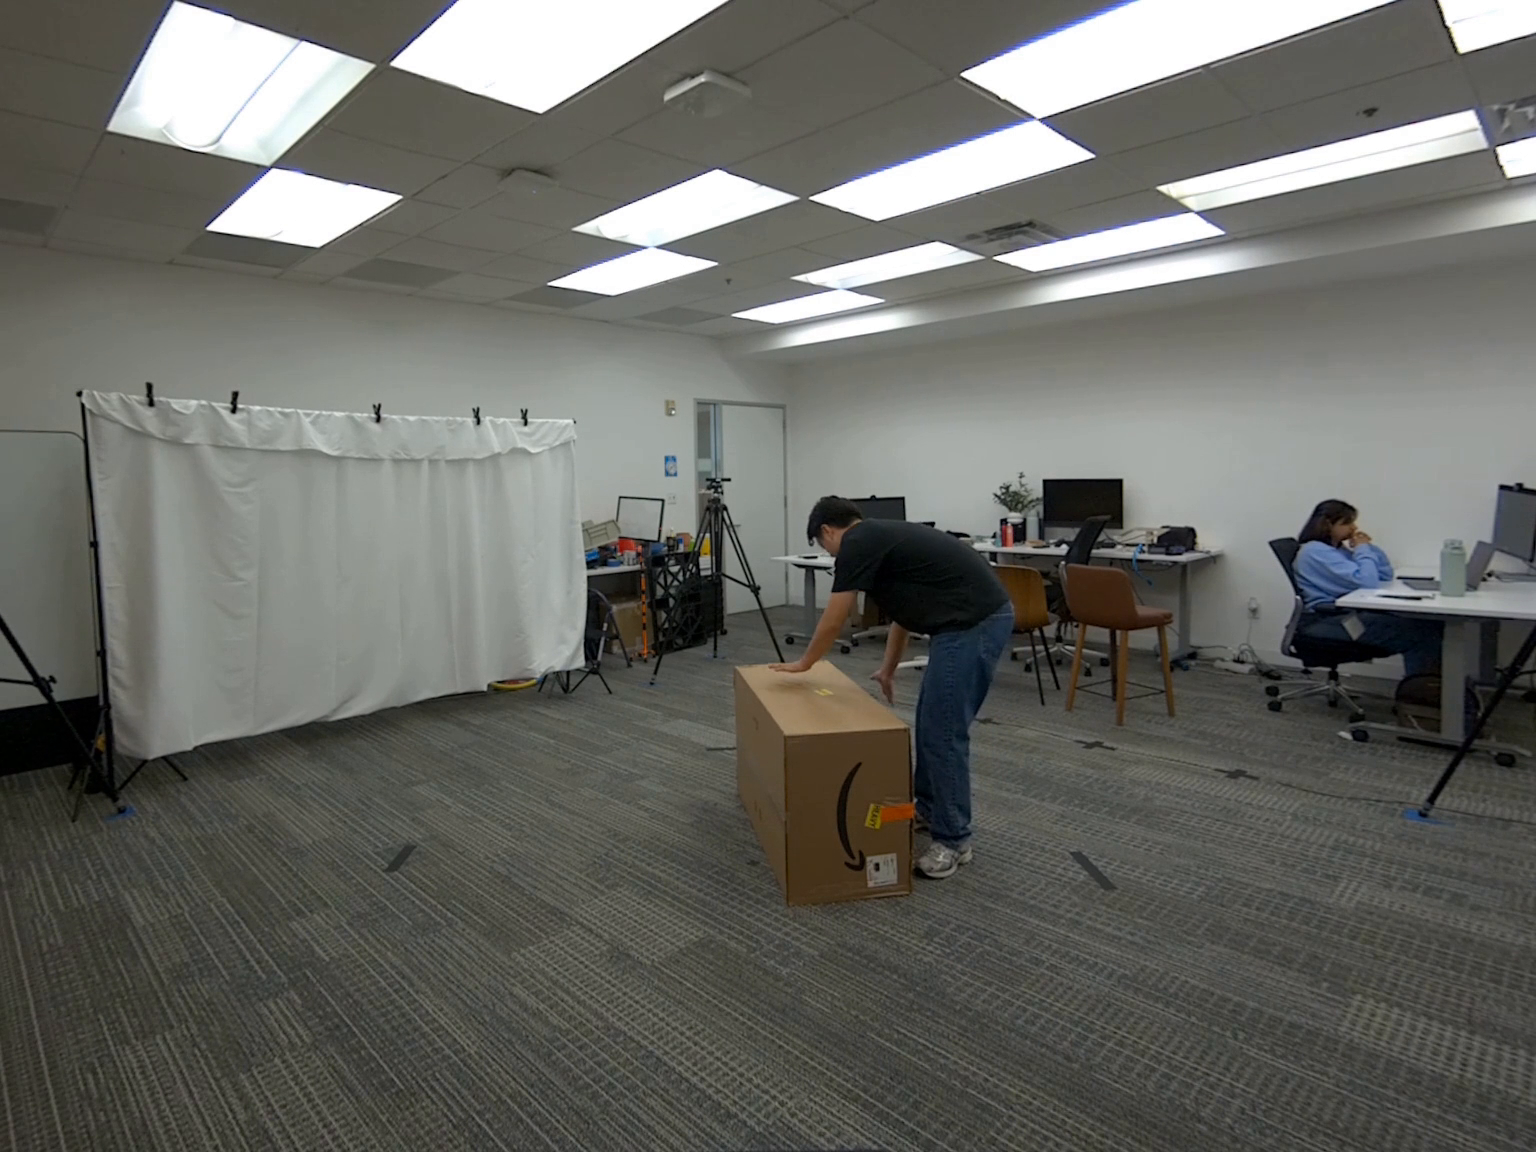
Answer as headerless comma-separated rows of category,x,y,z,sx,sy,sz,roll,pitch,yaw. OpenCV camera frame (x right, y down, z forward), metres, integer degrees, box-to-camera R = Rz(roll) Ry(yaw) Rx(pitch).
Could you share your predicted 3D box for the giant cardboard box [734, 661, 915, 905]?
giant cardboard box,0.172,0.726,3.294,0.442,0.581,1.042,-1,6,-11
